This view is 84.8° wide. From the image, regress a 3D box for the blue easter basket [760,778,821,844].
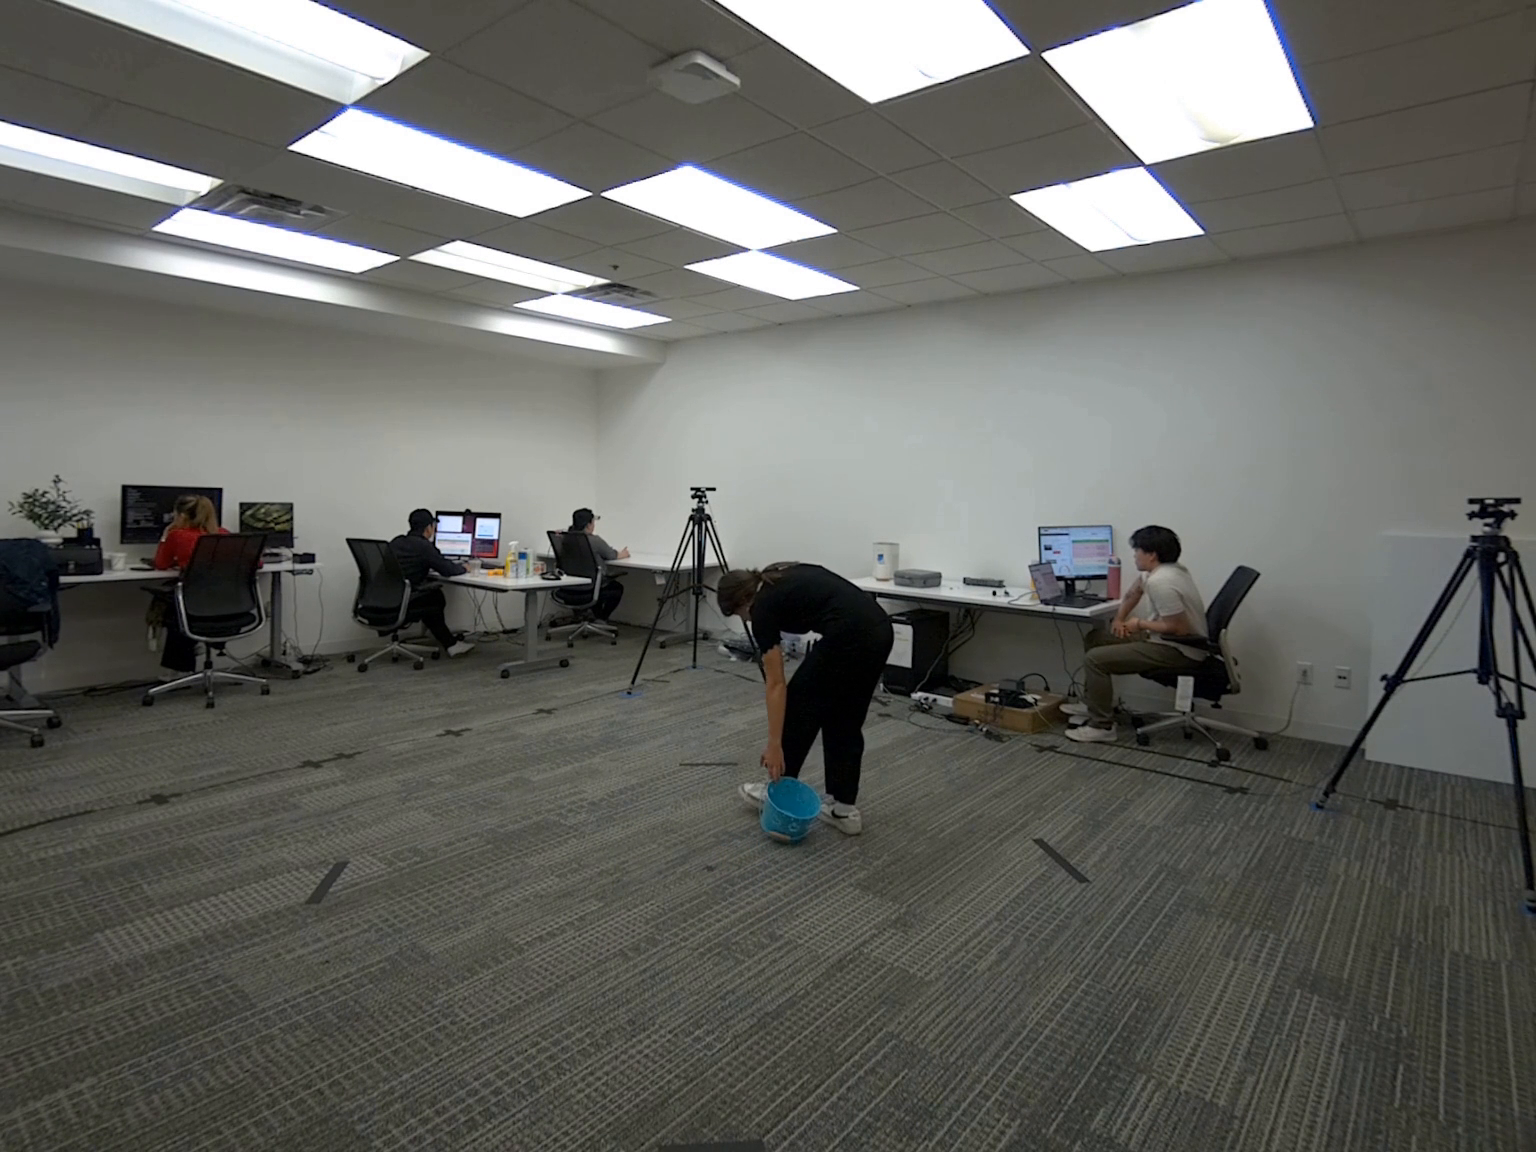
[{"bbox_3d":[0.071,0.944,3.394,0.242,0.154,0.249,13,22,-7],"label":"blue easter basket"}]
